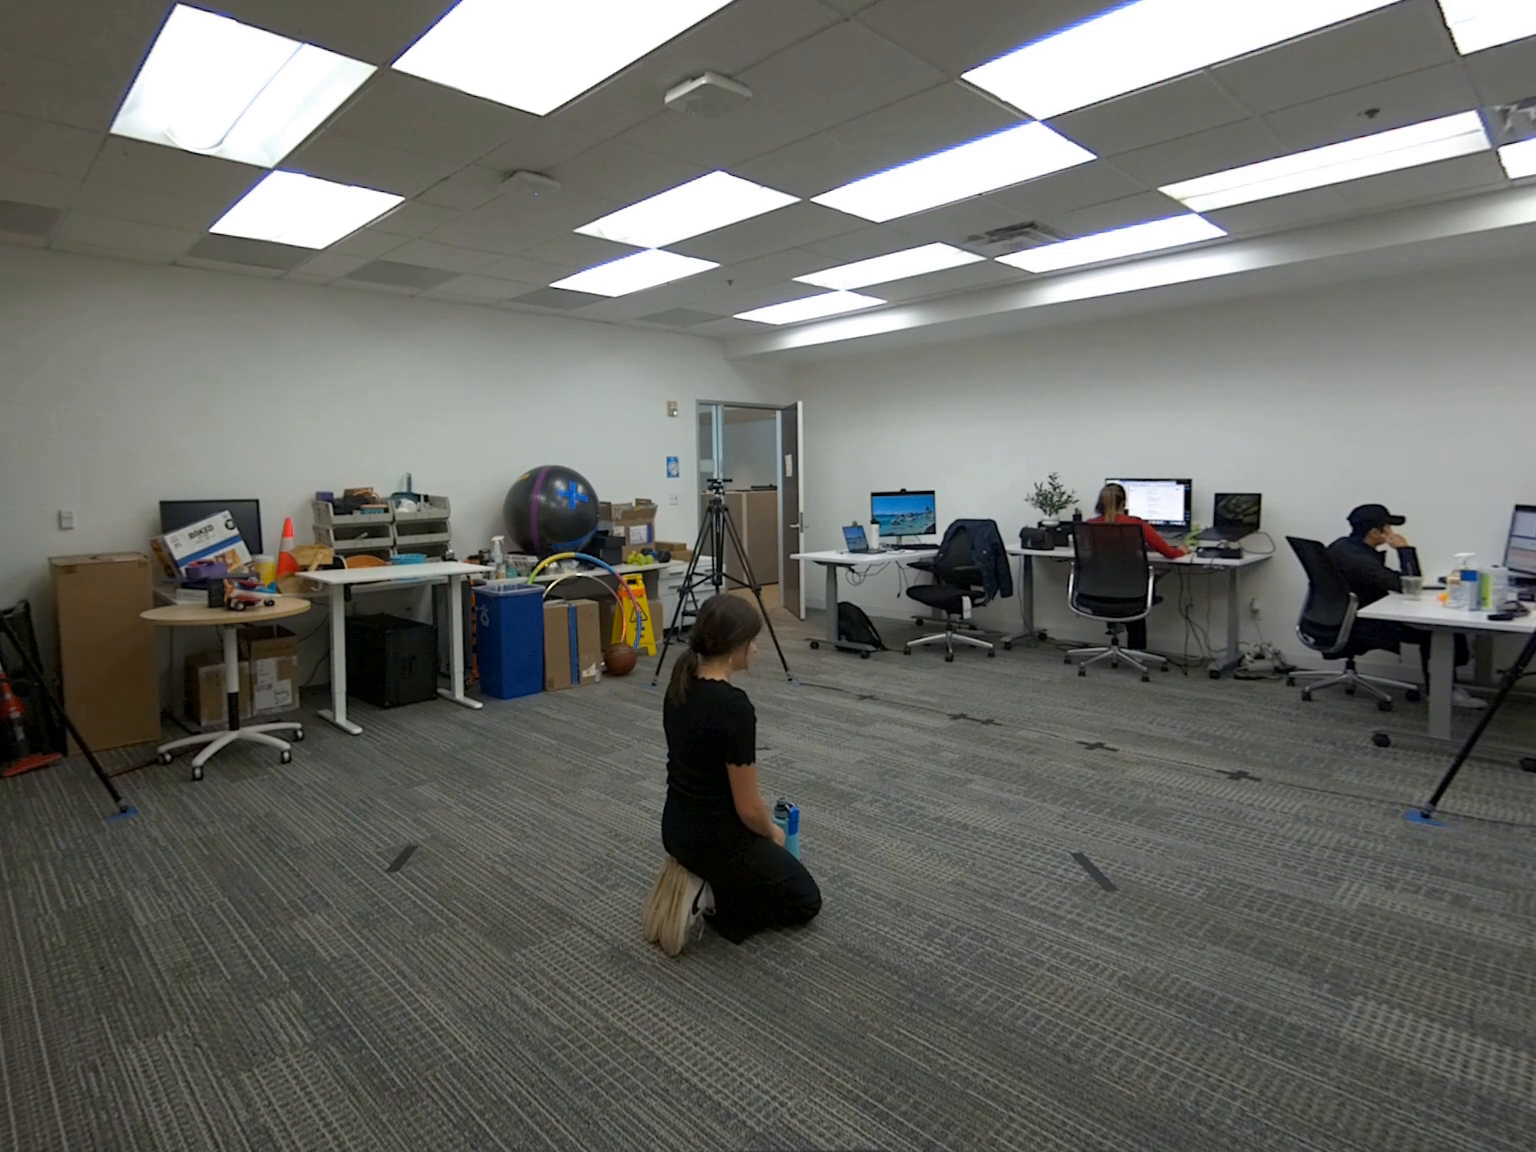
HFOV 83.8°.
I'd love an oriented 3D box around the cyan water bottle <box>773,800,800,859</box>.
[{"bbox_3d":[0.067,0.921,2.965,0.092,0.282,0.093,-1,5,-2],"label":"cyan water bottle"}]
